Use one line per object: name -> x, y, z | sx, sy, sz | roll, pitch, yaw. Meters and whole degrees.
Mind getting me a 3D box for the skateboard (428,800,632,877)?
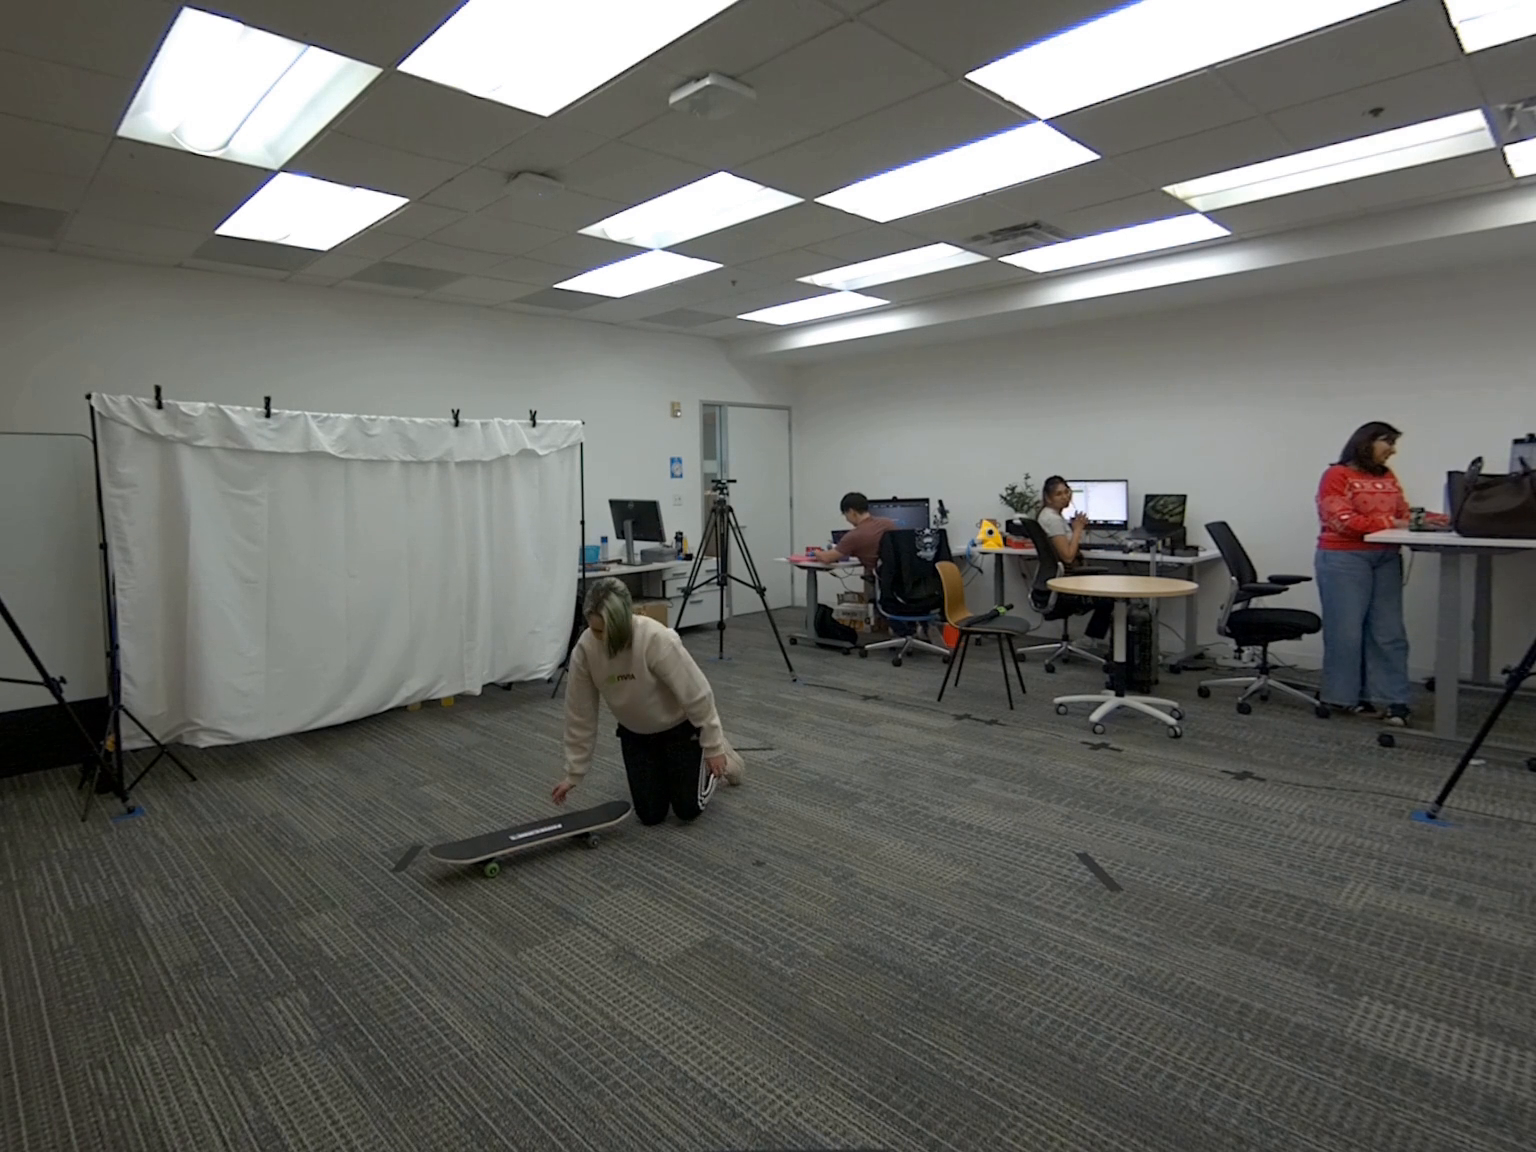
skateboard -> -0.879, 0.999, 3.222 | 0.766, 0.110, 0.199 | -6, 7, -33
